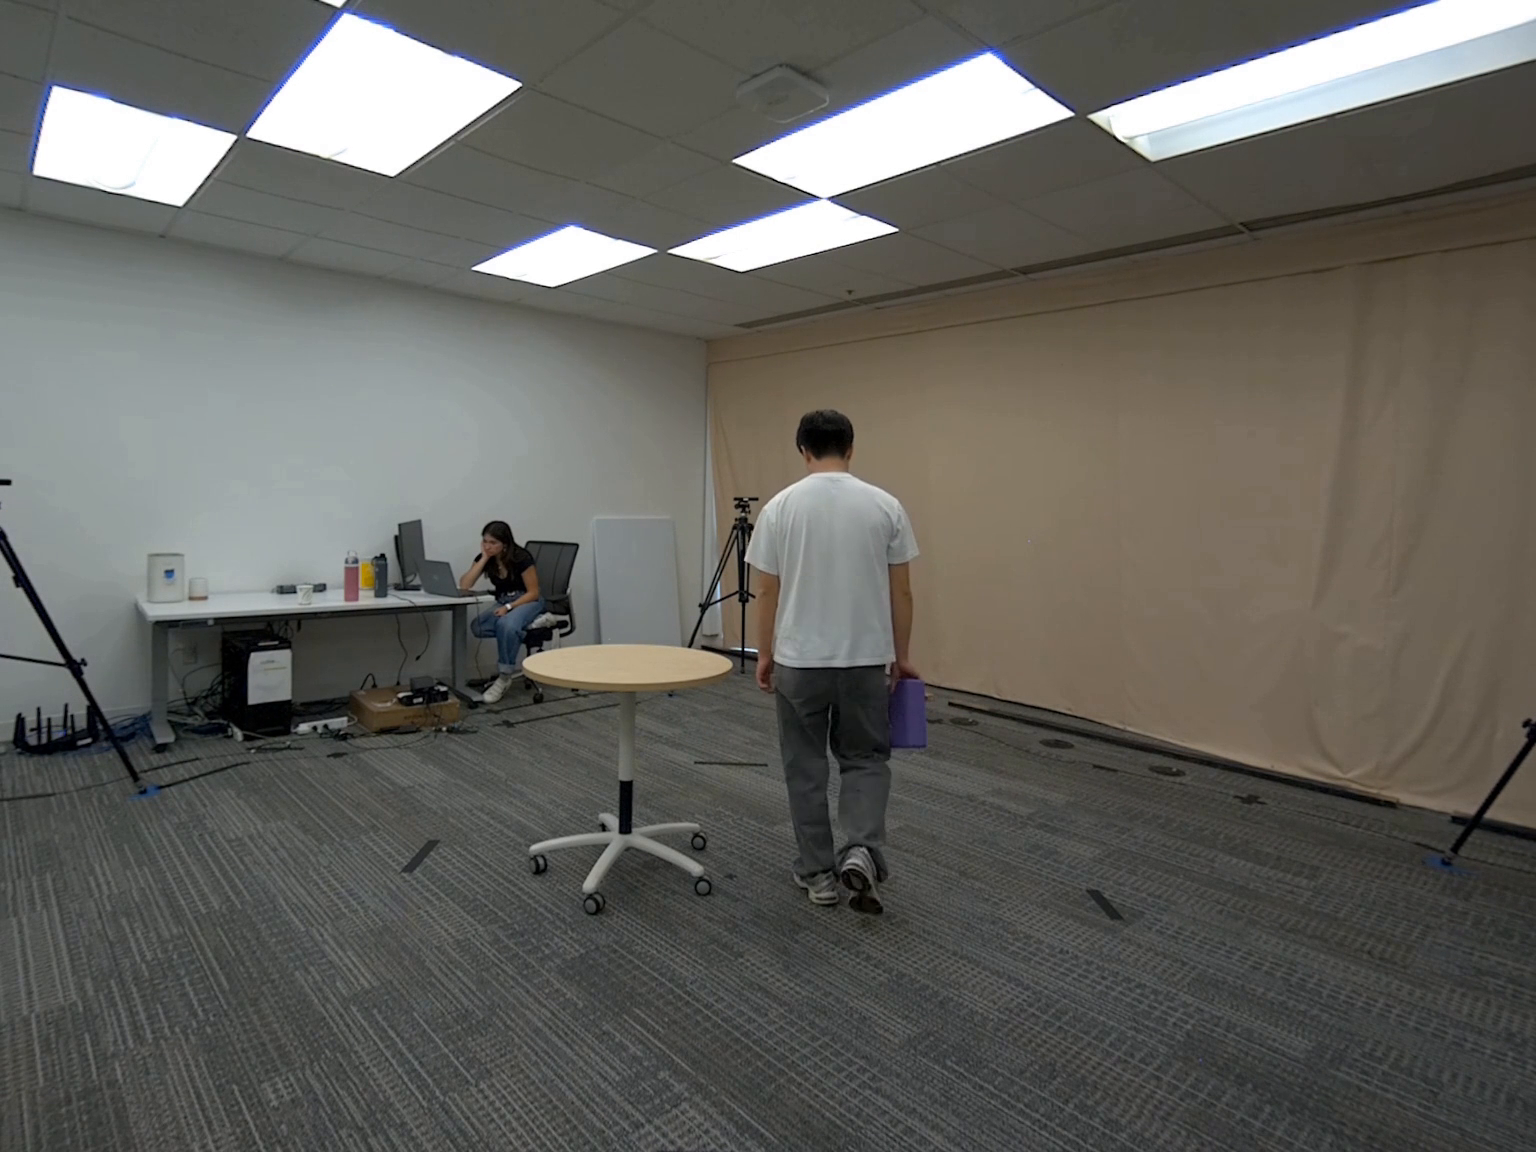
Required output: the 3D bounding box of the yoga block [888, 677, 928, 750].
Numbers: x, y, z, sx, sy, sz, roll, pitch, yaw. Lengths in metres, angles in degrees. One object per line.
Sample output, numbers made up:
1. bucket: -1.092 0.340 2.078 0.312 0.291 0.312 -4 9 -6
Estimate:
1. yoga block: 0.471 0.486 2.916 0.075 0.231 0.149 4 -12 -15
